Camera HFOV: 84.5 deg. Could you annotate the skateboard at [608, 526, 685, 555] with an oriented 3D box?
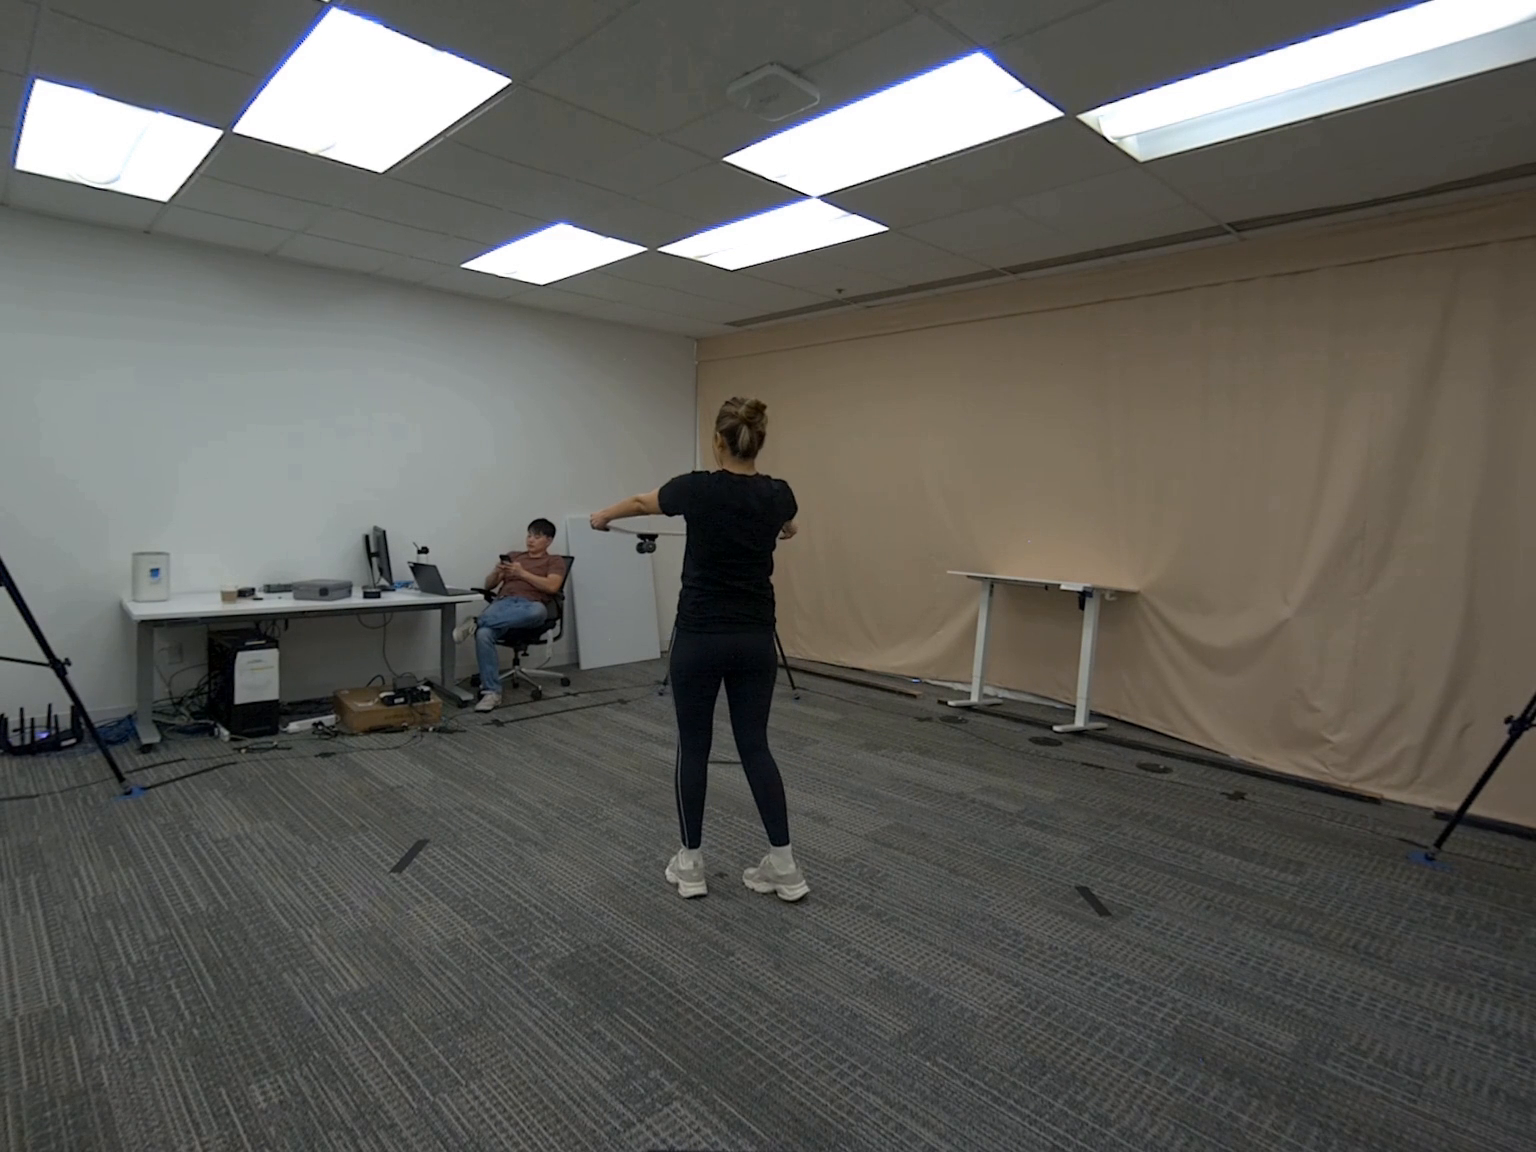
[{"bbox_3d":[-0.310,-0.137,3.444,0.775,0.110,0.196,2,0,-16],"label":"skateboard"}]
